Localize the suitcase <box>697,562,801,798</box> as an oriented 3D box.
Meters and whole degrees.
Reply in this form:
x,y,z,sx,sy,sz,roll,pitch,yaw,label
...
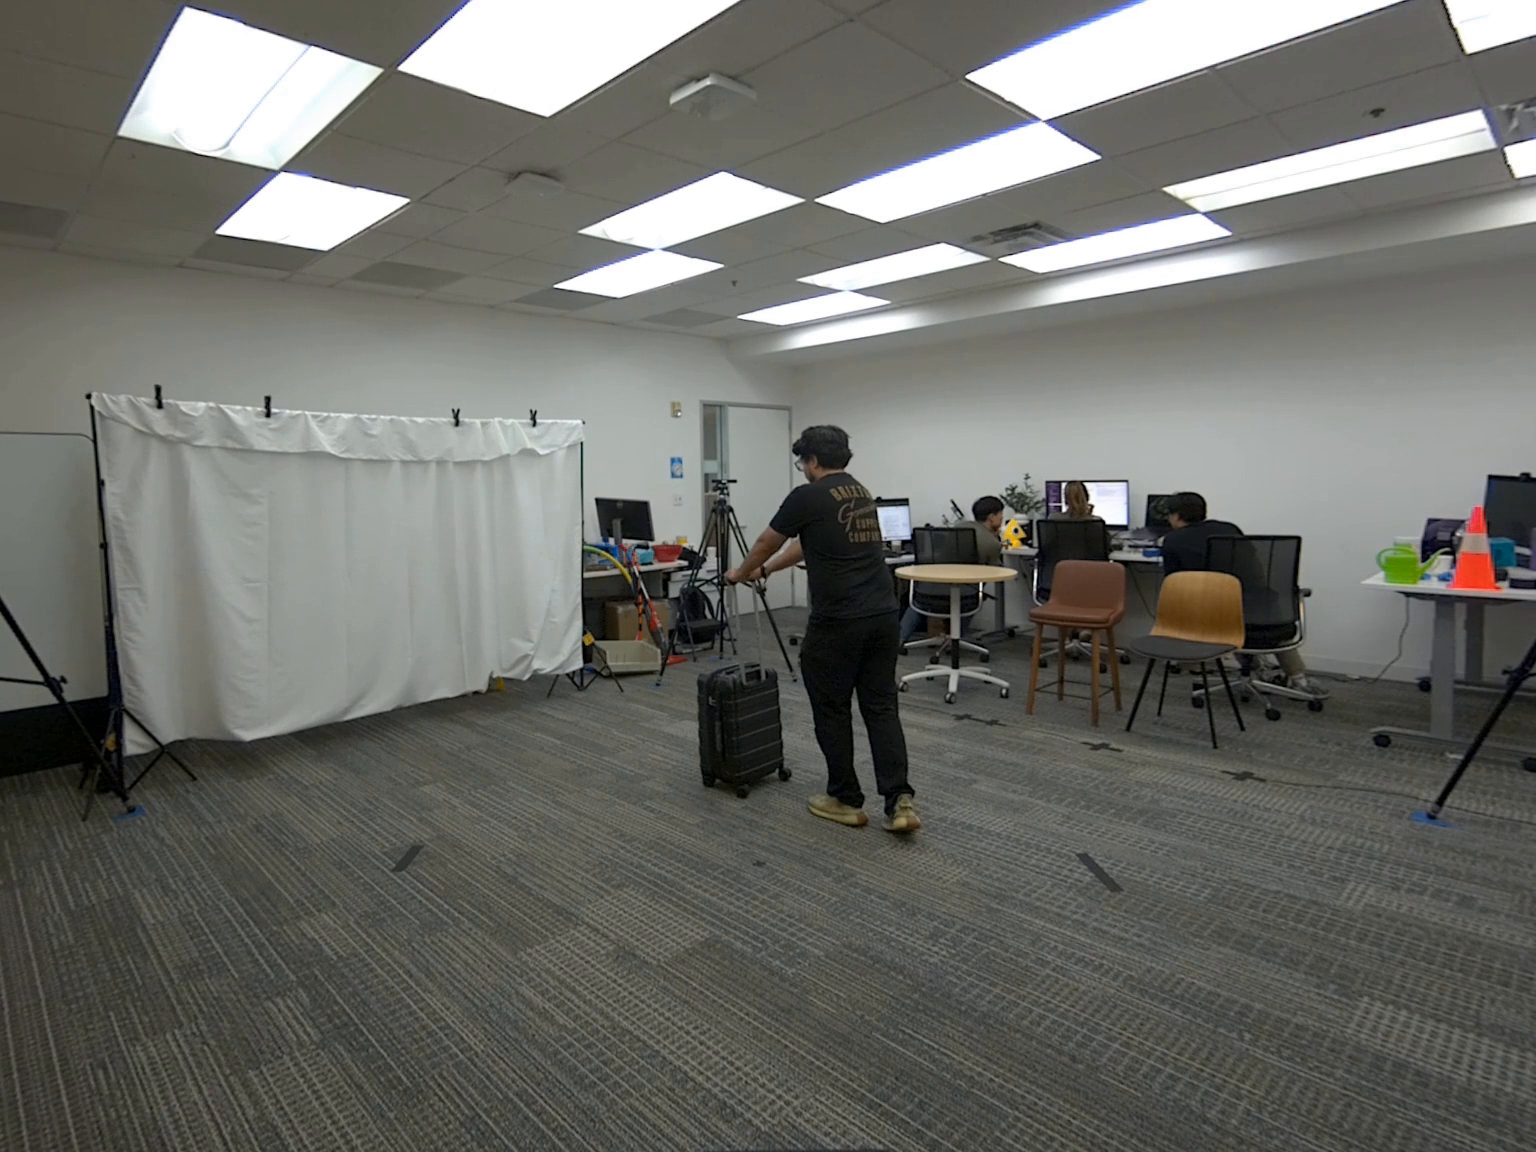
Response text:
x,y,z,sx,sy,sz,roll,pitch,yaw,label
-0.148,0.483,3.944,0.374,0.978,0.264,-6,1,-44,suitcase
